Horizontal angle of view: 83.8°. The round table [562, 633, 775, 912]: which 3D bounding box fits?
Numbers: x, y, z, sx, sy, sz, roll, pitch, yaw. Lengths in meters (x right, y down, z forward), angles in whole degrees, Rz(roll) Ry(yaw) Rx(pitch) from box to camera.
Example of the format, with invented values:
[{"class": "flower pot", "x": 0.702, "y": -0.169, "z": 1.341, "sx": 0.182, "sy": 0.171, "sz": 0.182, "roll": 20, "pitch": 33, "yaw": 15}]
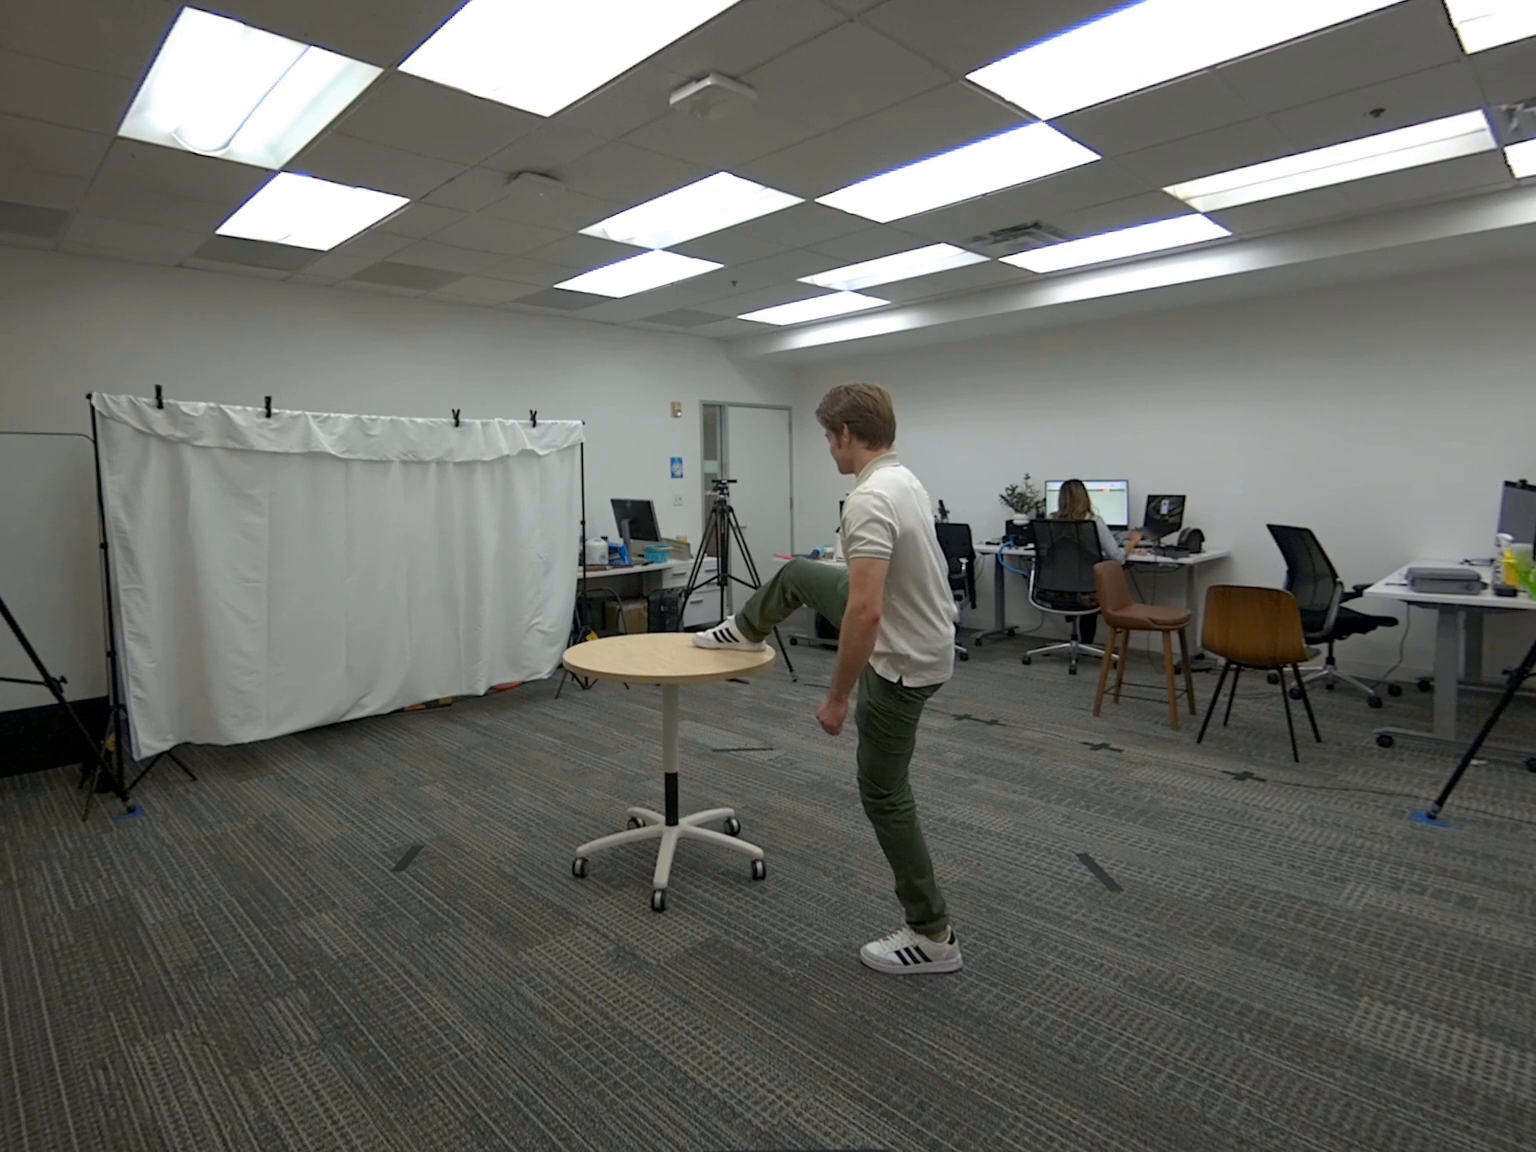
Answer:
[{"class": "round table", "x": -0.351, "y": 0.666, "z": 3.117, "sx": 0.763, "sy": 0.791, "sz": 0.768, "roll": -1, "pitch": 5, "yaw": -2}]
